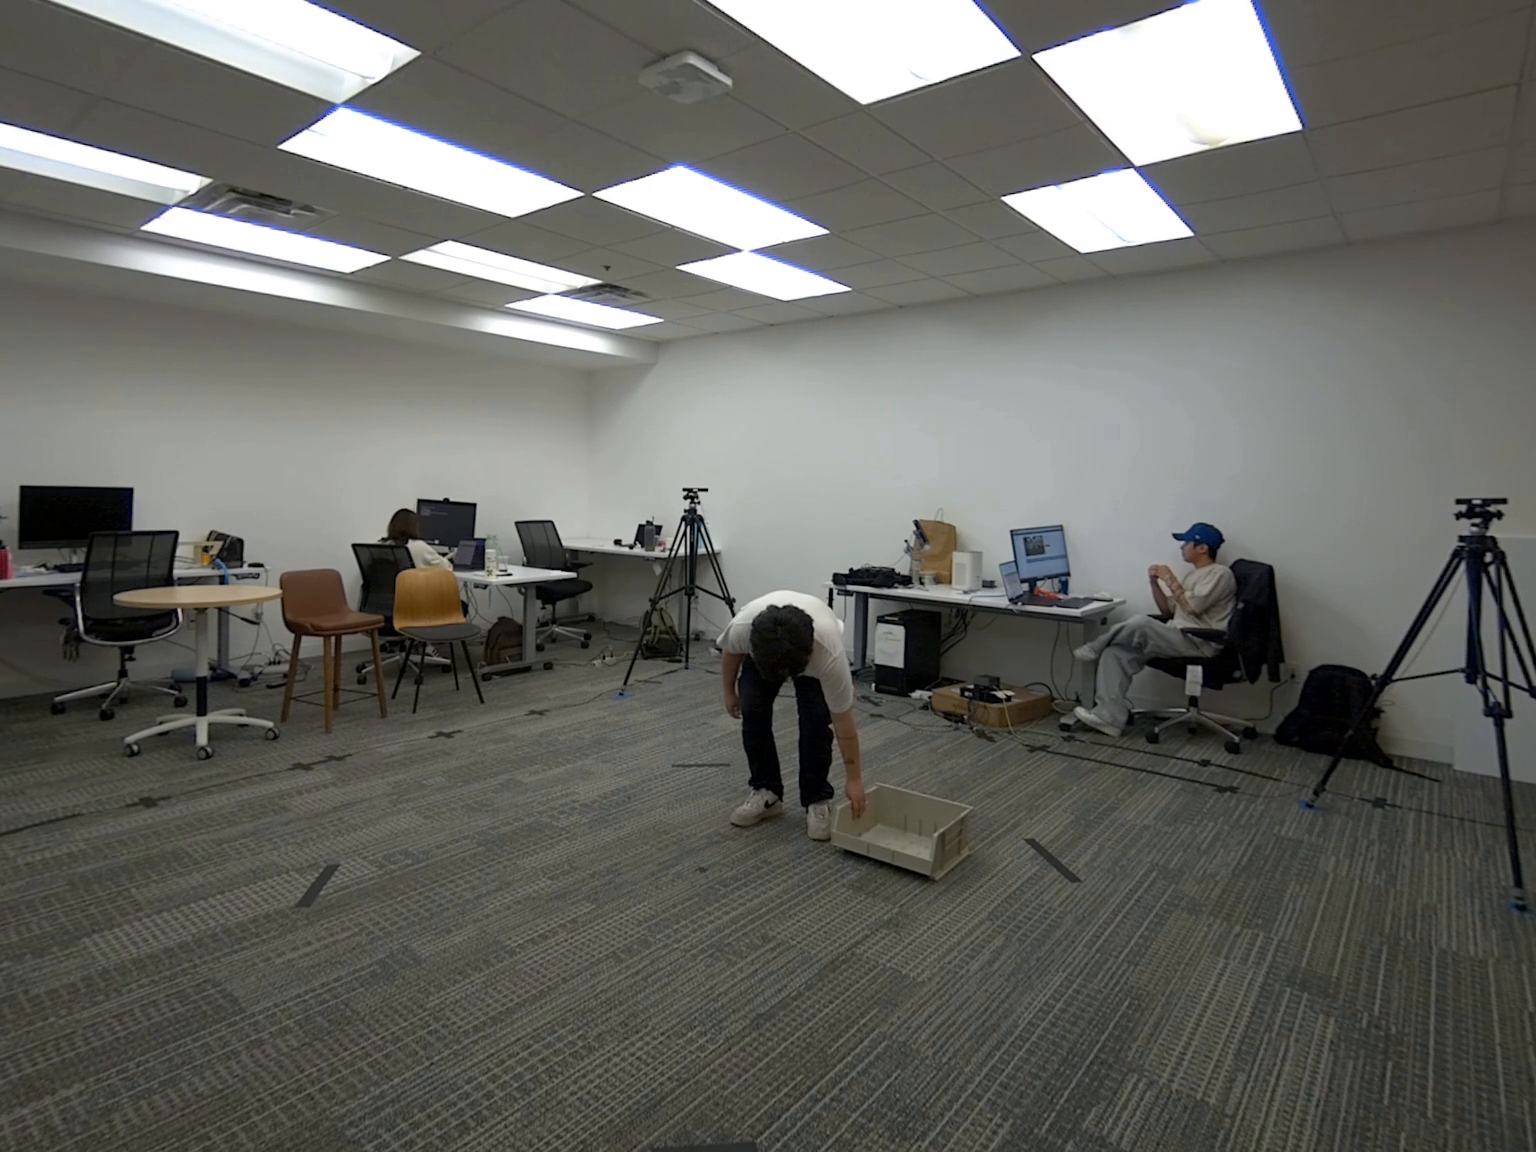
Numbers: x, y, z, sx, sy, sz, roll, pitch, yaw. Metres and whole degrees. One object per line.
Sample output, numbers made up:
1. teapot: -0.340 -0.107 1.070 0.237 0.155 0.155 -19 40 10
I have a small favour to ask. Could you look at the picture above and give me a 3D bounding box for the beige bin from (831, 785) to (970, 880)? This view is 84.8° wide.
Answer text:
1. beige bin: 0.512 0.979 3.290 0.436 0.188 0.366 4 5 36
